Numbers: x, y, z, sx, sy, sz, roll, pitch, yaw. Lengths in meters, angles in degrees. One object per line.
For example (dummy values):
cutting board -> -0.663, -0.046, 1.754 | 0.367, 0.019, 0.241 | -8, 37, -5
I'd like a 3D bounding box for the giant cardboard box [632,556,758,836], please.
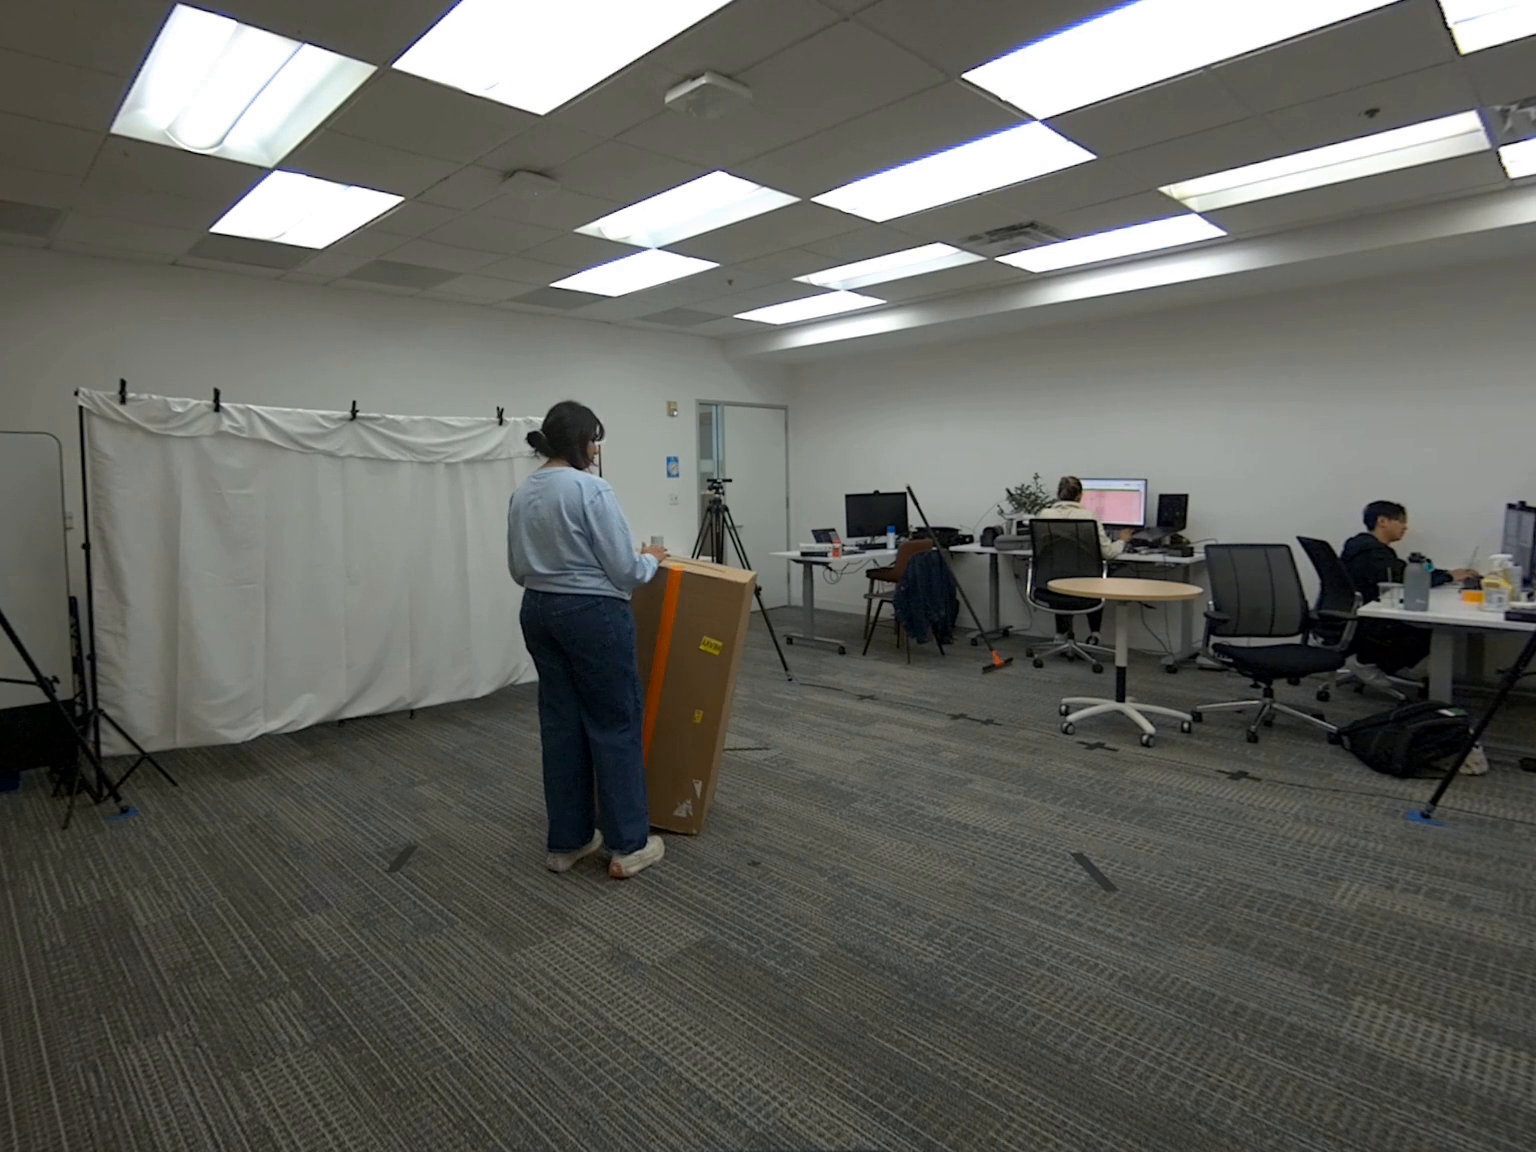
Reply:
giant cardboard box -> -0.439, 0.445, 3.559 | 0.589, 1.023, 0.444 | 11, 5, 7
